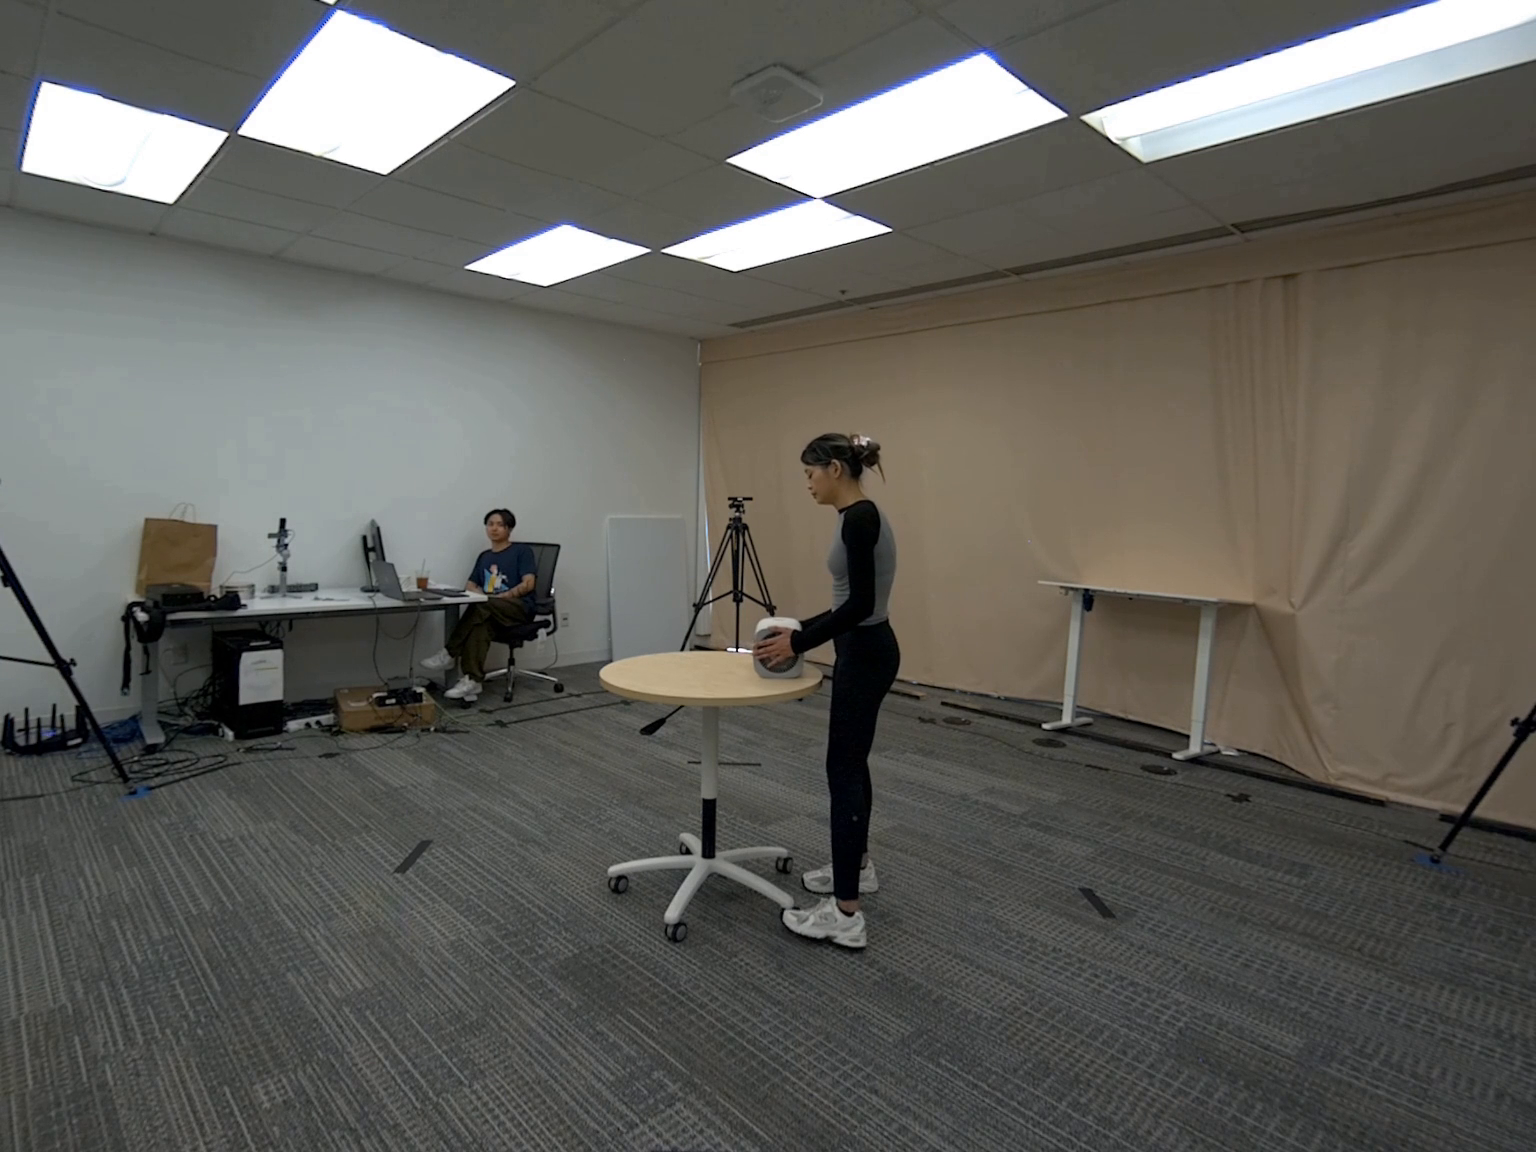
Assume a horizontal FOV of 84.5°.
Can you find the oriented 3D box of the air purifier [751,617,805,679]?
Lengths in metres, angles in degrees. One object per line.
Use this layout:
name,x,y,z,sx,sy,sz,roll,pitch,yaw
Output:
air purifier,0.037,0.247,2.931,0.172,0.171,0.265,0,4,3
